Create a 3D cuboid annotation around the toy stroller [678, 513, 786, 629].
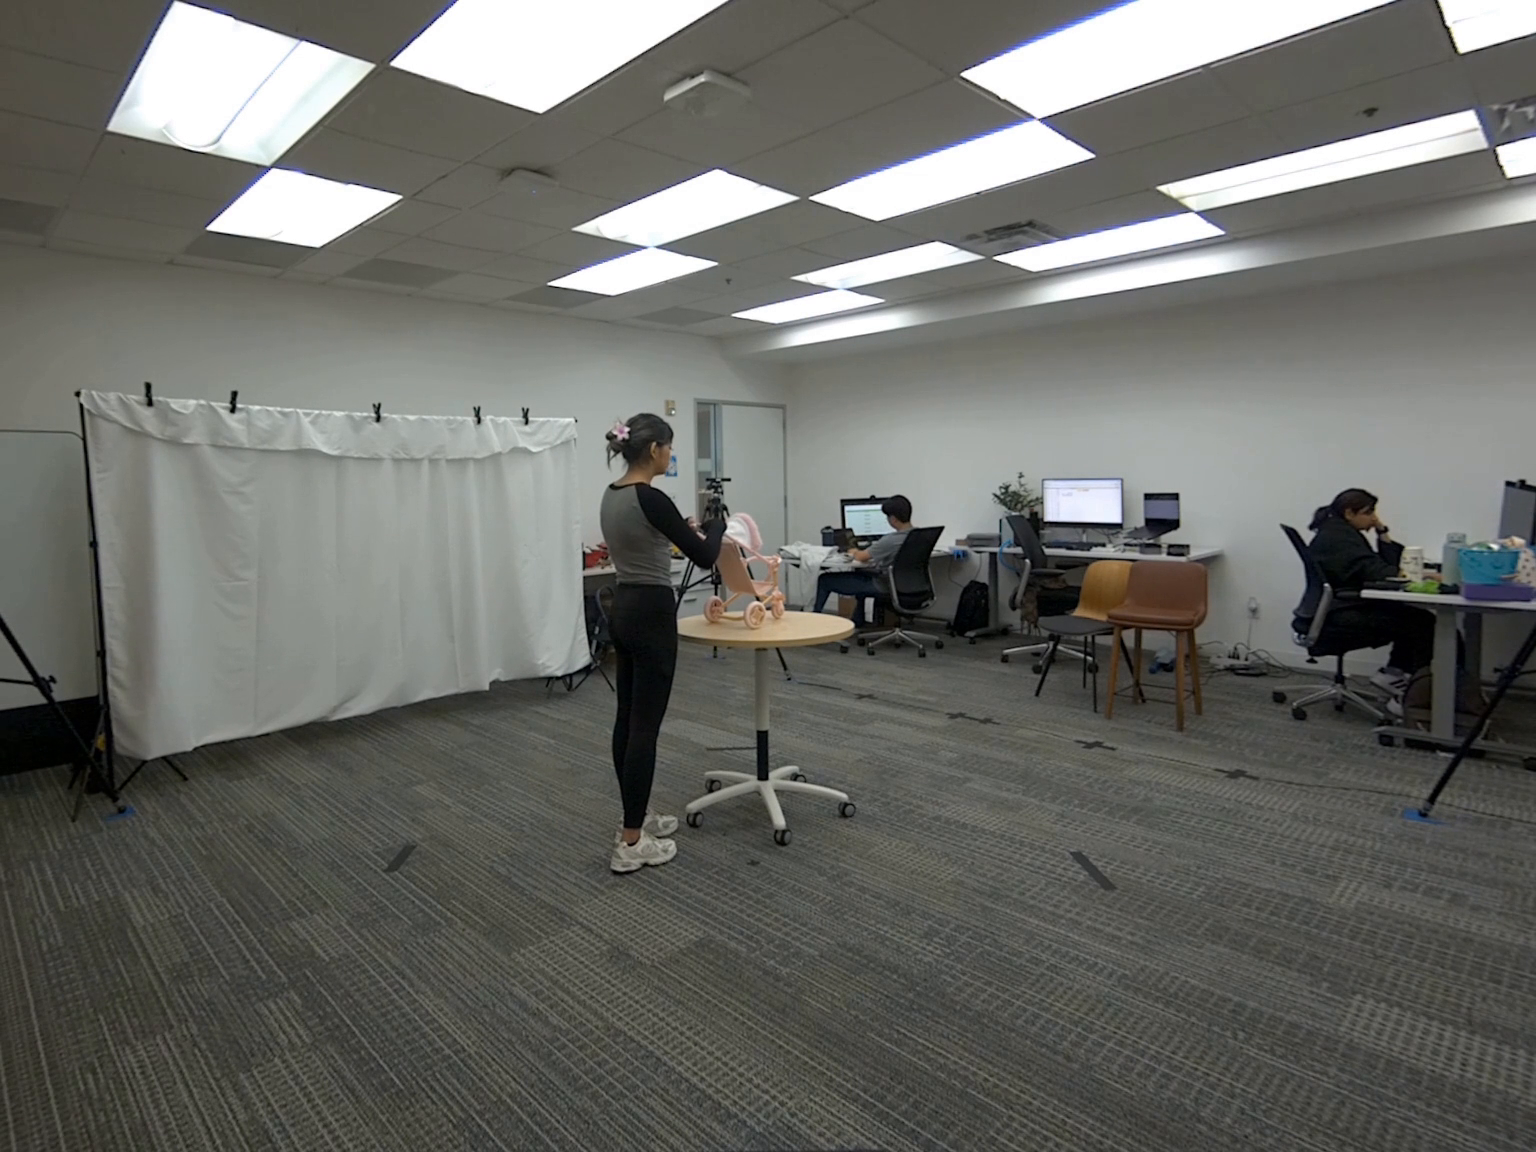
[{"bbox_3d":[-0.099,-0.023,3.540,0.336,0.527,0.290,-23,17,-35],"label":"toy stroller"}]
